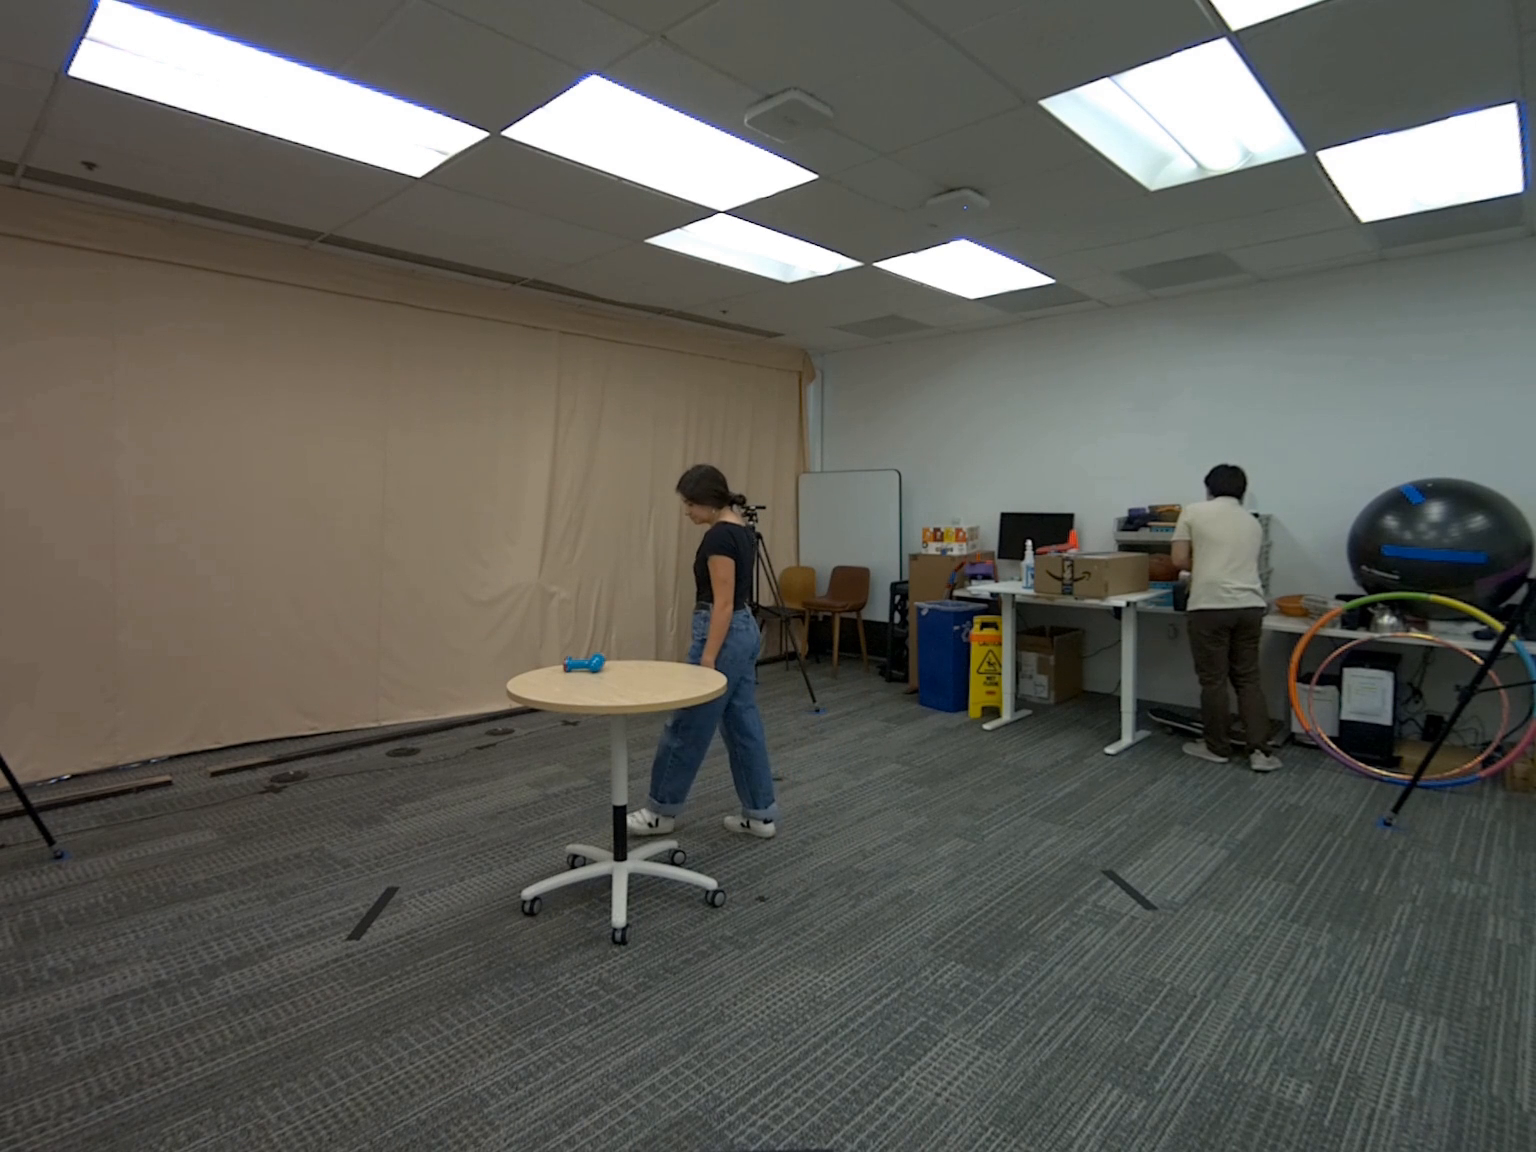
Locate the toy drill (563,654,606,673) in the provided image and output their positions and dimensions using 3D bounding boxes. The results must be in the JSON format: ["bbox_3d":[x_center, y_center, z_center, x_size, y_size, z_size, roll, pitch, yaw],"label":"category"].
[{"bbox_3d":[-0.678,0.321,3.157,0.147,0.061,0.170,-1,12,4],"label":"toy drill"}]
